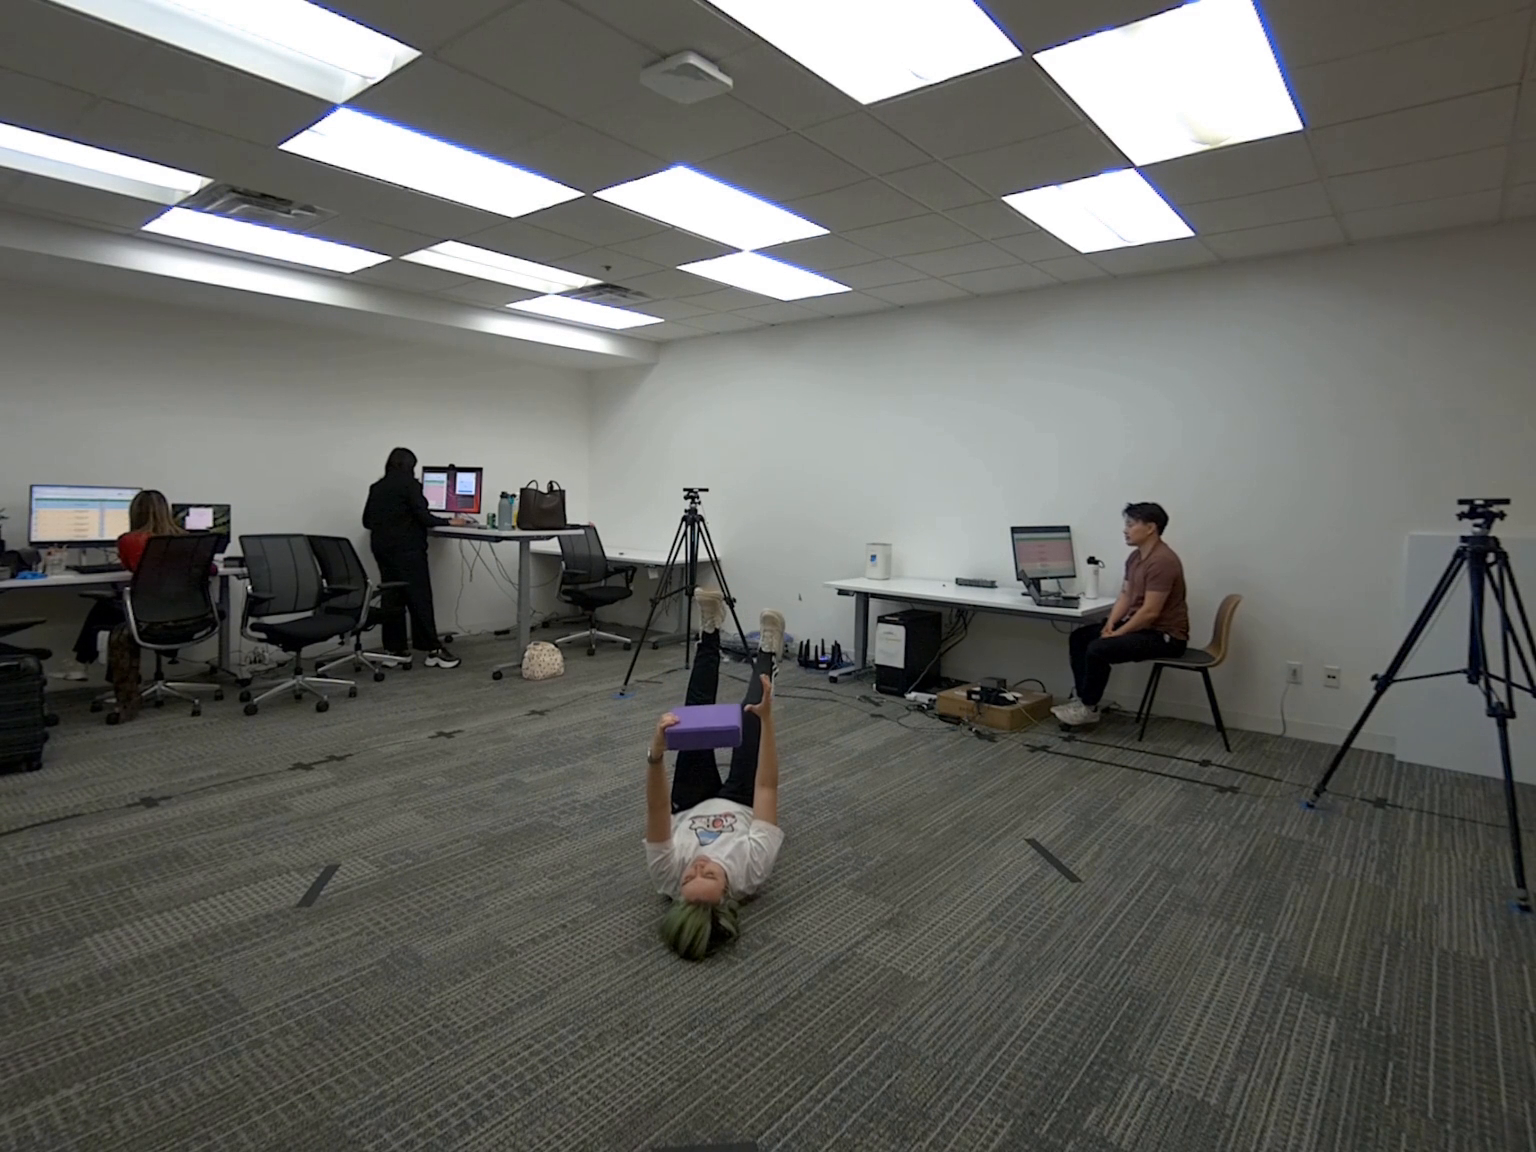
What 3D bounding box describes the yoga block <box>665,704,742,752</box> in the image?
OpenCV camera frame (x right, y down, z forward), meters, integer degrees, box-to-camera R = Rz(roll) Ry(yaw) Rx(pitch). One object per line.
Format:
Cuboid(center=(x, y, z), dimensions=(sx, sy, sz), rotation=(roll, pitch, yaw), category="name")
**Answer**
Cuboid(center=(-0.204, 0.466, 2.648), dimensions=(0.229, 0.075, 0.152), rotation=(-5, 20, -1), category="yoga block")
